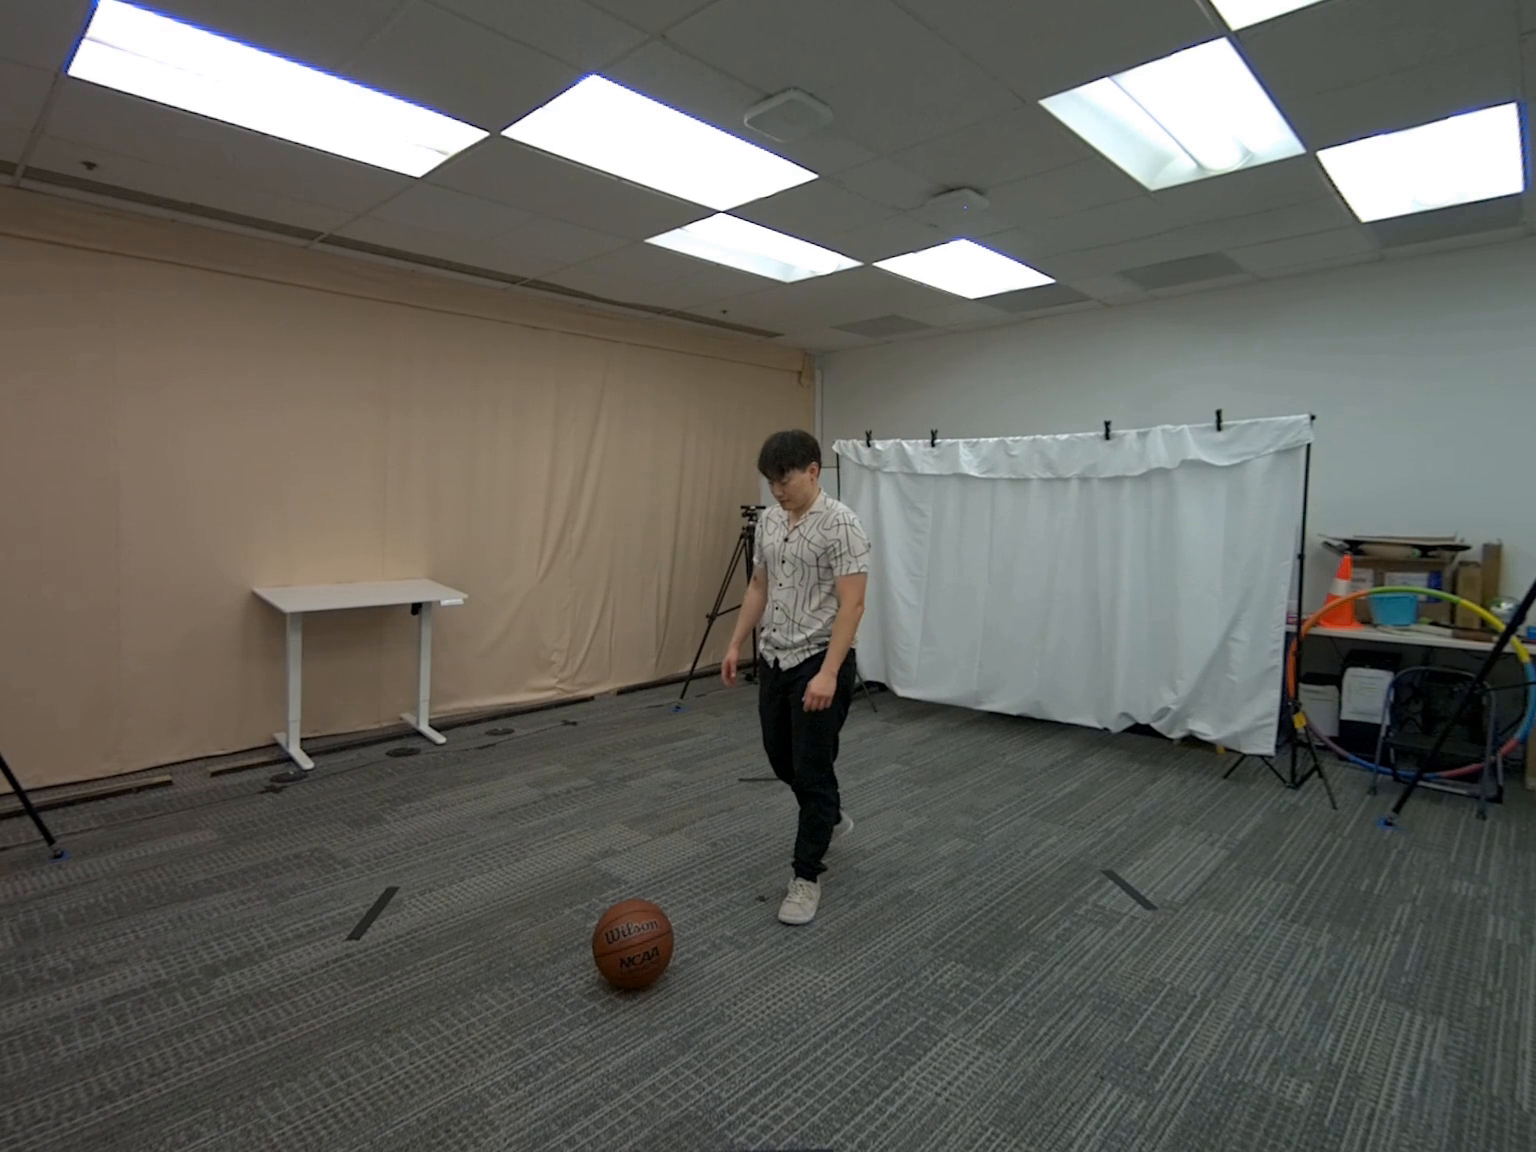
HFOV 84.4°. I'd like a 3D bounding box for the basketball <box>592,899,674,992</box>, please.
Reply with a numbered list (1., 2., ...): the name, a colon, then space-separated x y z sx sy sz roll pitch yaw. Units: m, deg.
1. basketball: -0.390 1.070 2.454 0.236 0.235 0.237 0 4 -2
